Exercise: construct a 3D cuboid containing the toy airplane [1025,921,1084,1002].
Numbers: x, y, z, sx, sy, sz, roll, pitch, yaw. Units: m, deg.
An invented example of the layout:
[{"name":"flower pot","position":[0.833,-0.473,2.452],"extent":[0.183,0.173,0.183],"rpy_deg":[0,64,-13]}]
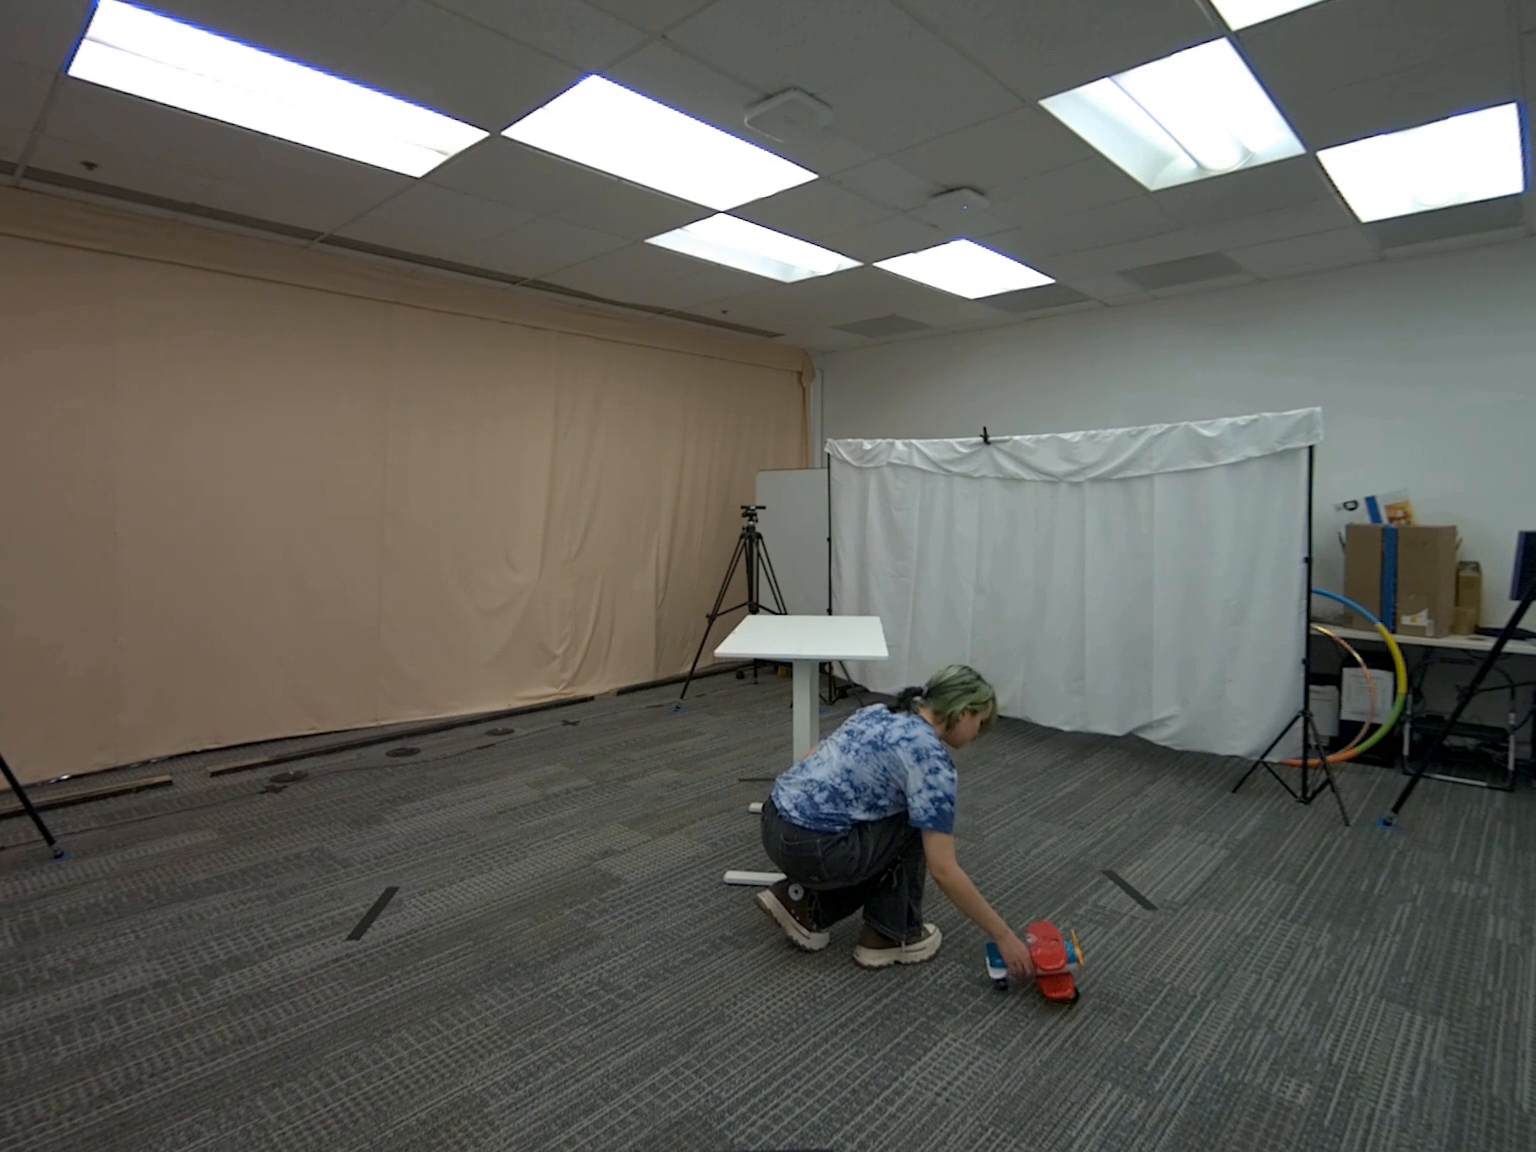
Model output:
[{"name":"toy airplane","position":[0.771,1.120,2.389],"extent":[0.255,0.156,0.256],"rpy_deg":[-1,5,-18]}]
